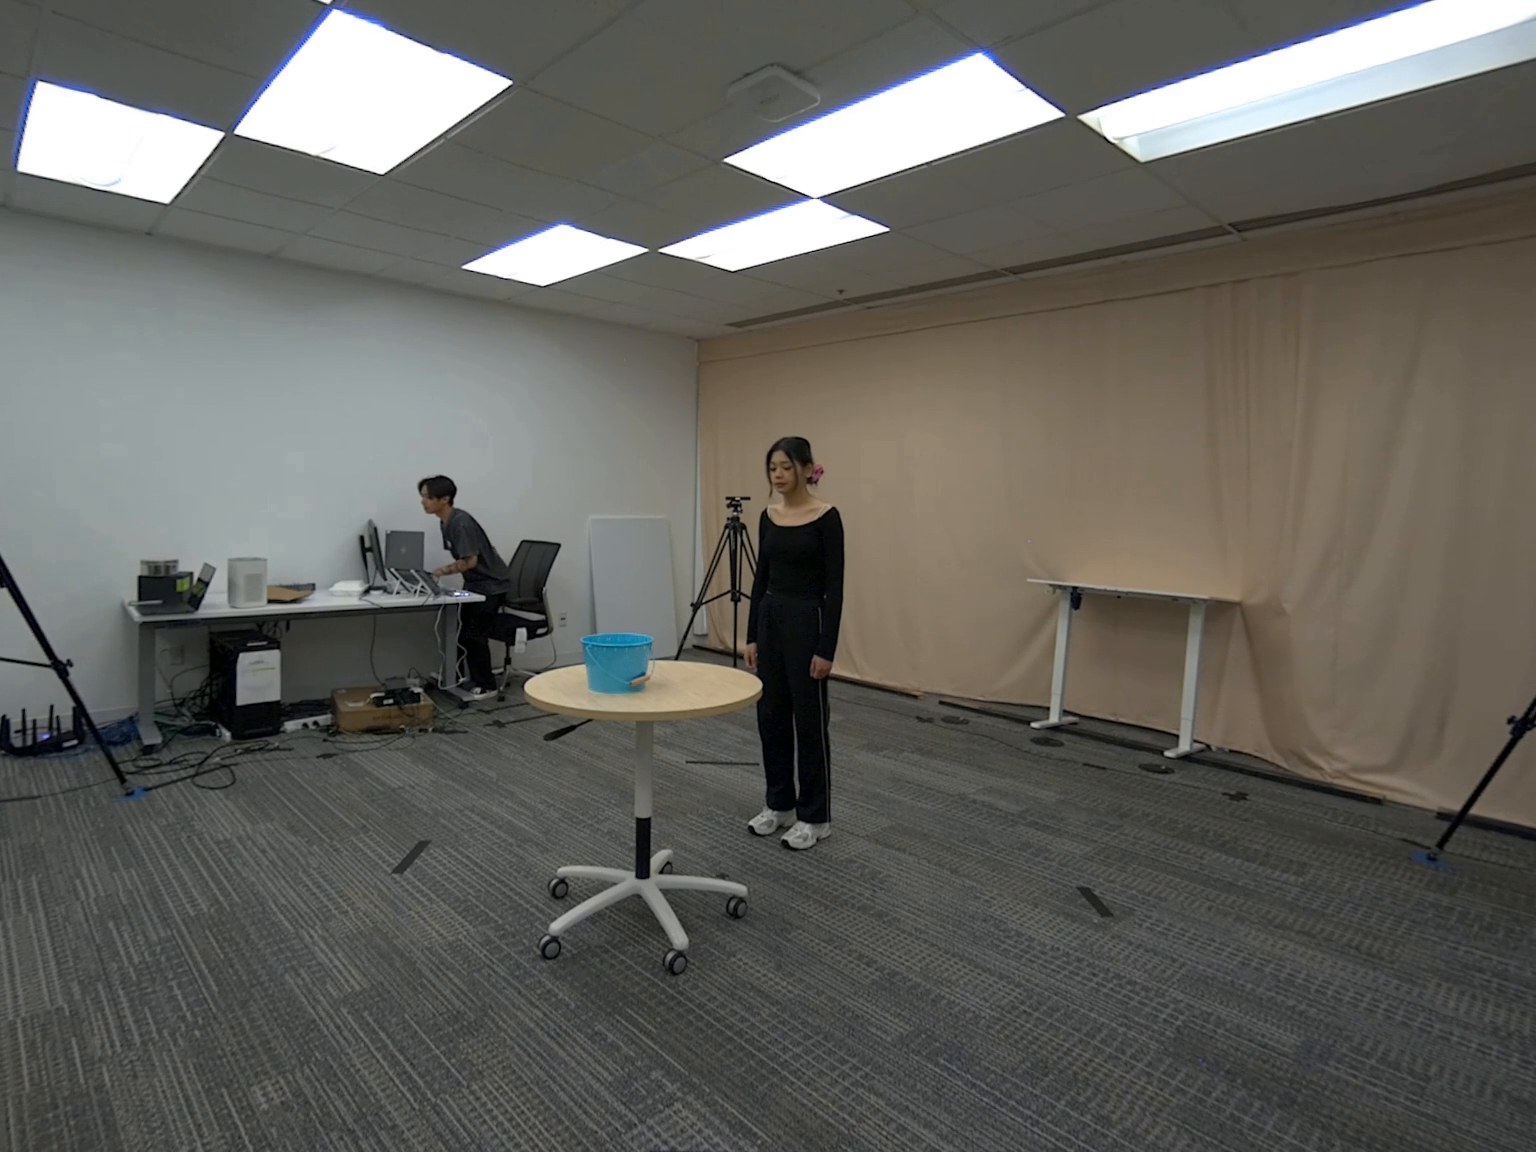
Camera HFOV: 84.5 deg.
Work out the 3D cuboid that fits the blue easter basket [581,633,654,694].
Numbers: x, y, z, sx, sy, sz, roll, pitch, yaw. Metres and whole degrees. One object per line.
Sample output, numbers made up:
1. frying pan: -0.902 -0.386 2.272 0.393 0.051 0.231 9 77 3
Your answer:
1. blue easter basket: -0.494 0.285 2.656 0.243 0.155 0.244 0 4 -1
